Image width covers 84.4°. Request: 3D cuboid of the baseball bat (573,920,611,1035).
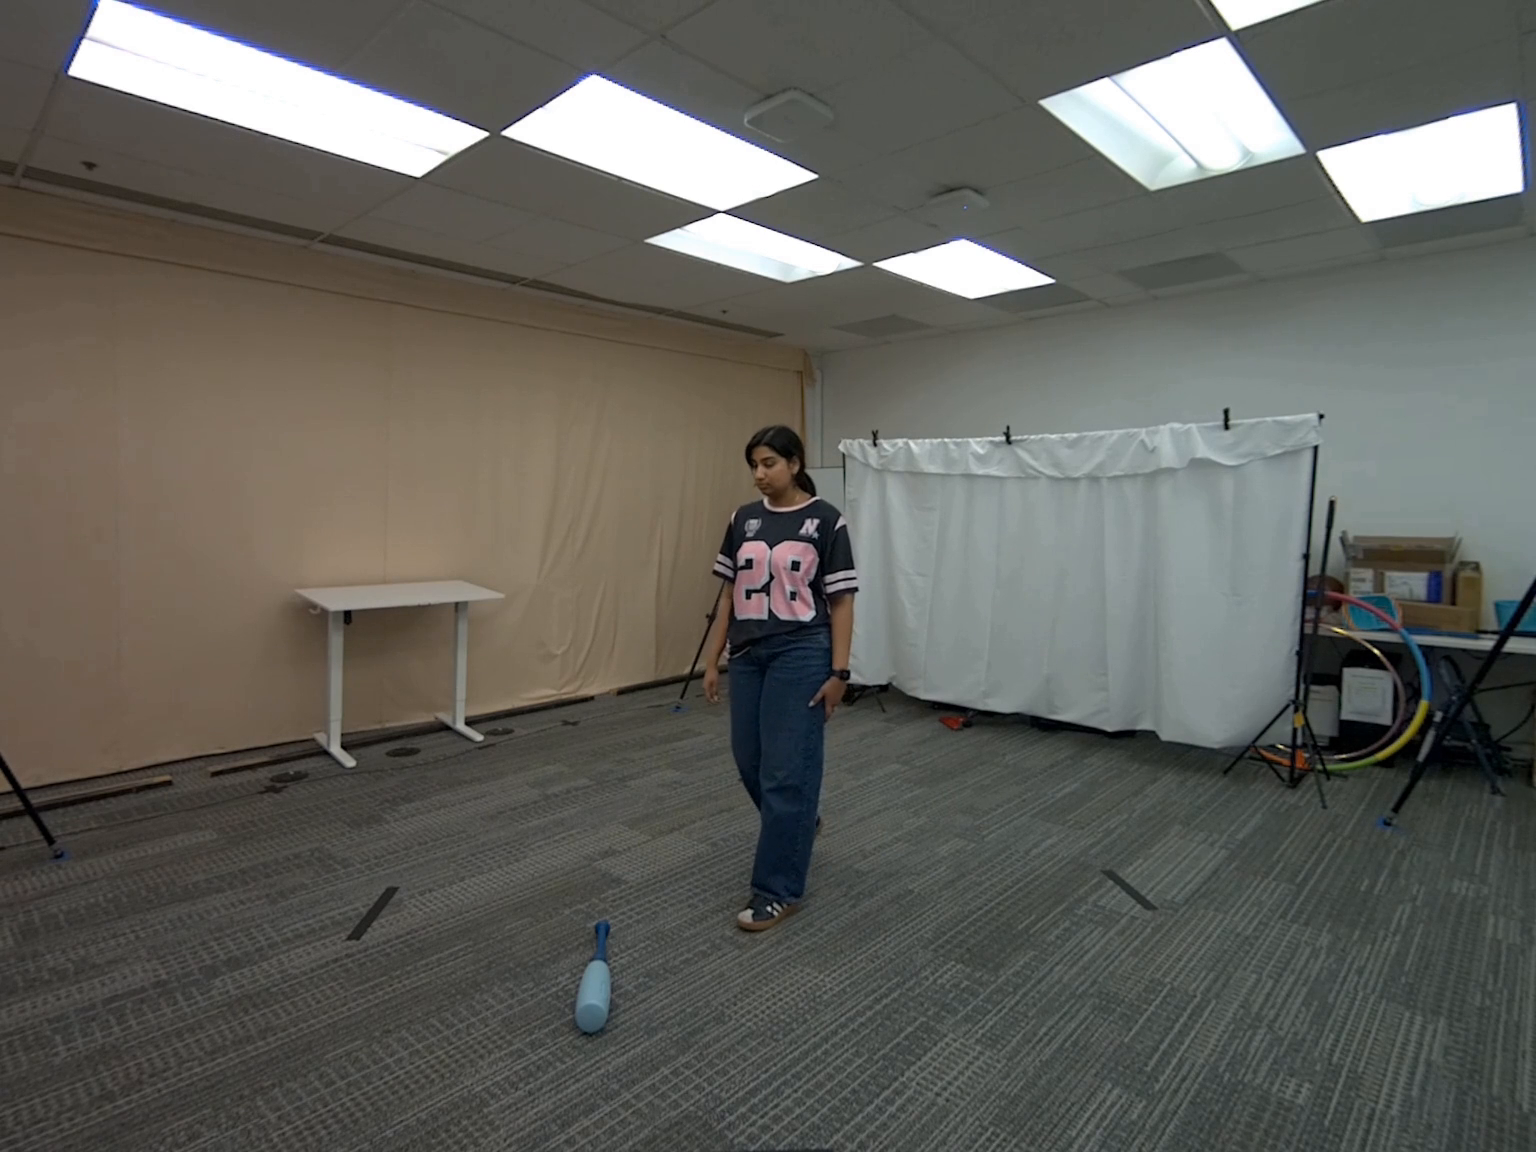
[{"bbox_3d":[-0.502,1.157,2.464,0.088,0.089,0.547,0,1,-8],"label":"baseball bat"}]
